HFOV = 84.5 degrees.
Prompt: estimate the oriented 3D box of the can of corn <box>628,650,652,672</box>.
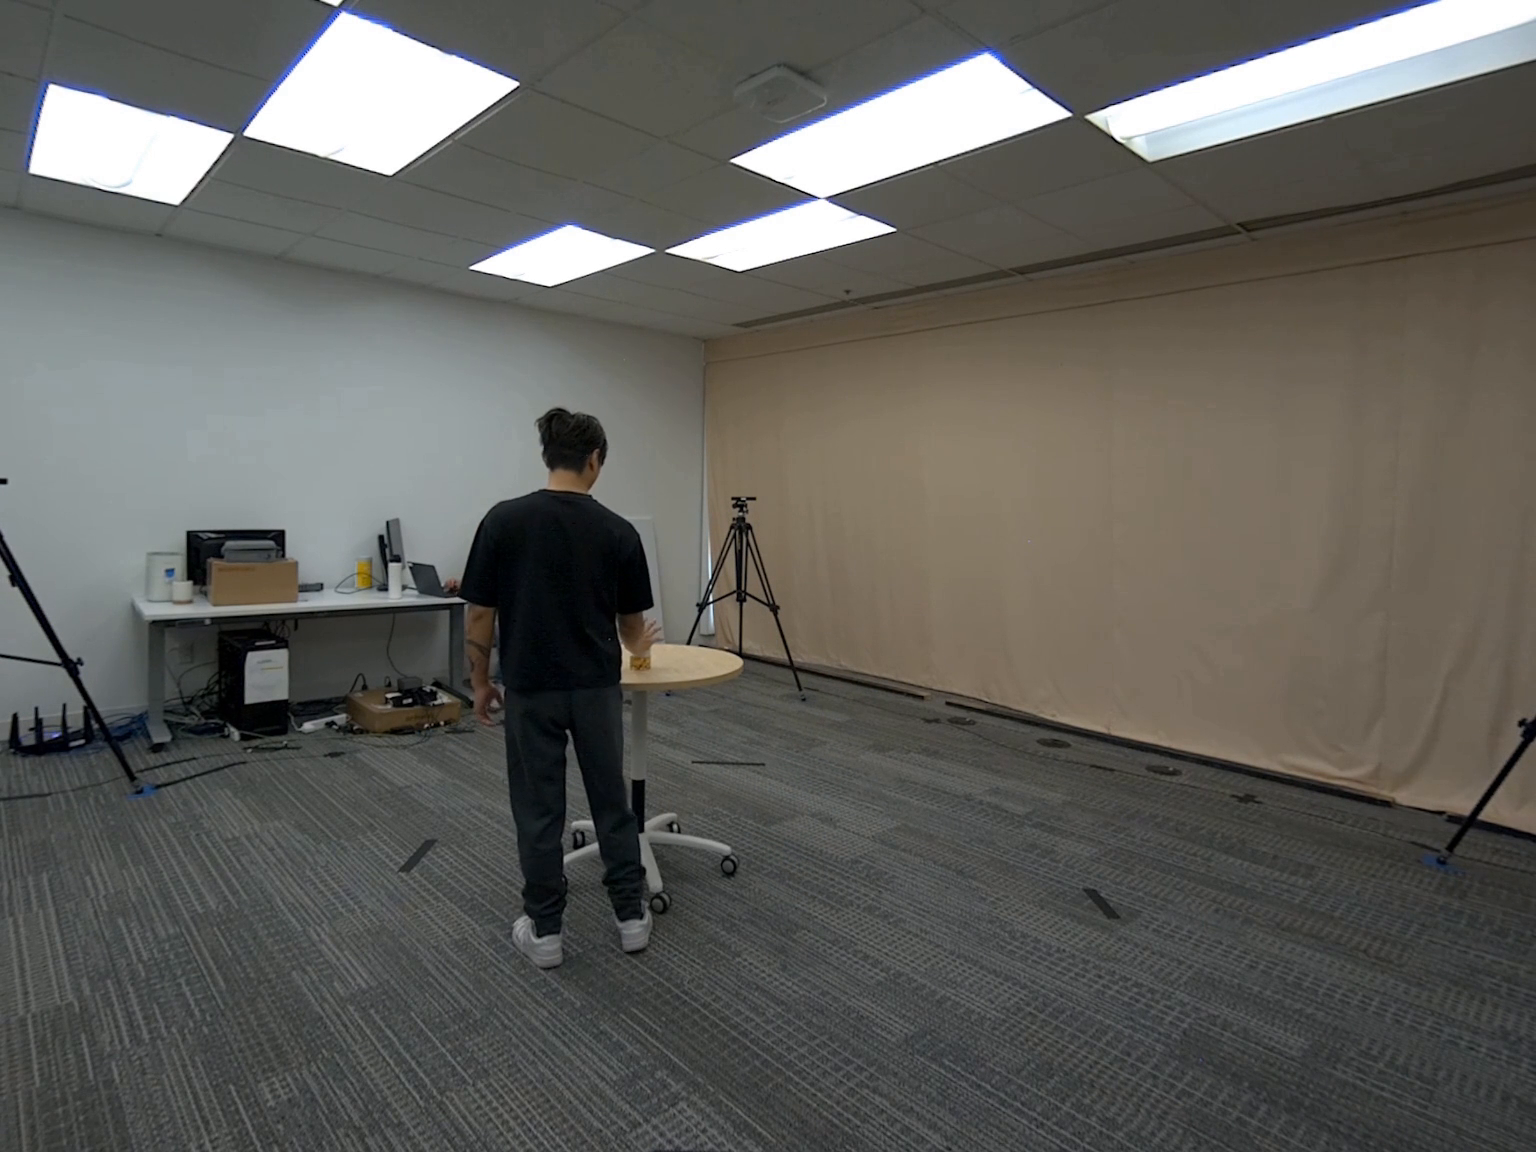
[{"bbox_3d":[-0.459,0.274,2.989,0.074,0.111,0.074,0,4,-1],"label":"can of corn"}]
